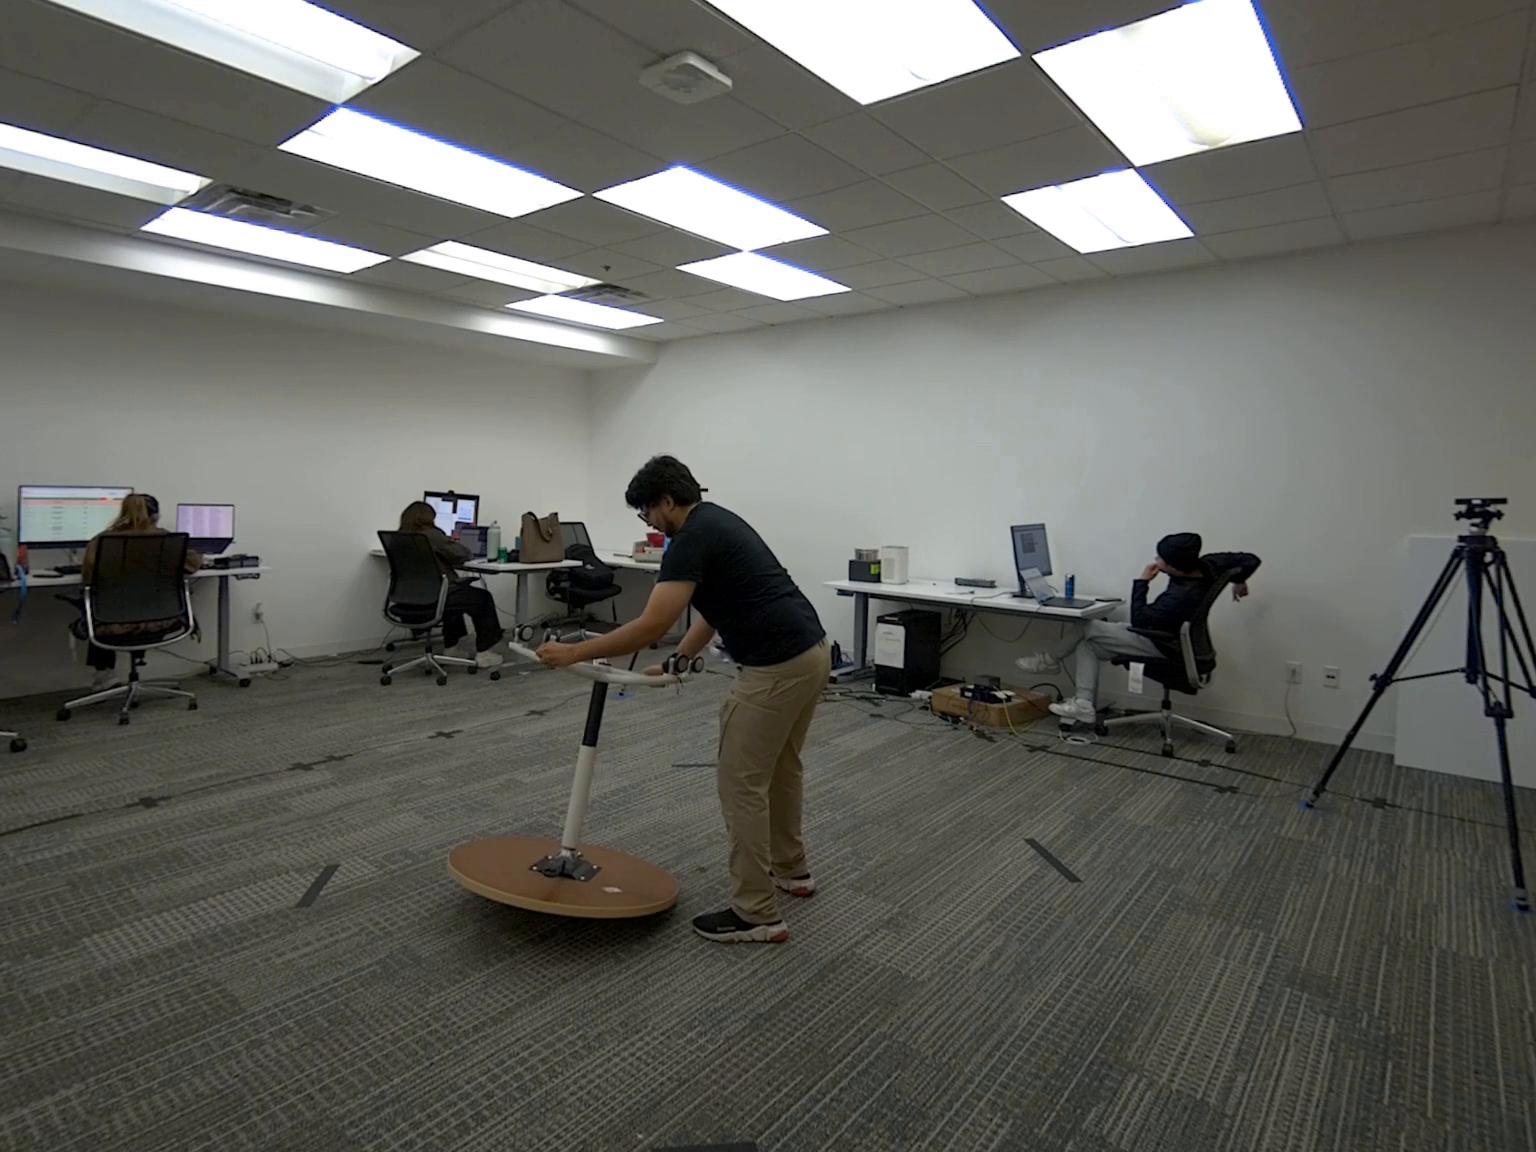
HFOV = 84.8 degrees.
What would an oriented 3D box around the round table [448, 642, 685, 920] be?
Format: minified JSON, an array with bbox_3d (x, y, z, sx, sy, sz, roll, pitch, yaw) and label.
[{"bbox_3d":[-0.638,0.614,2.893,0.786,0.791,0.780,10,-7,-1],"label":"round table"}]
